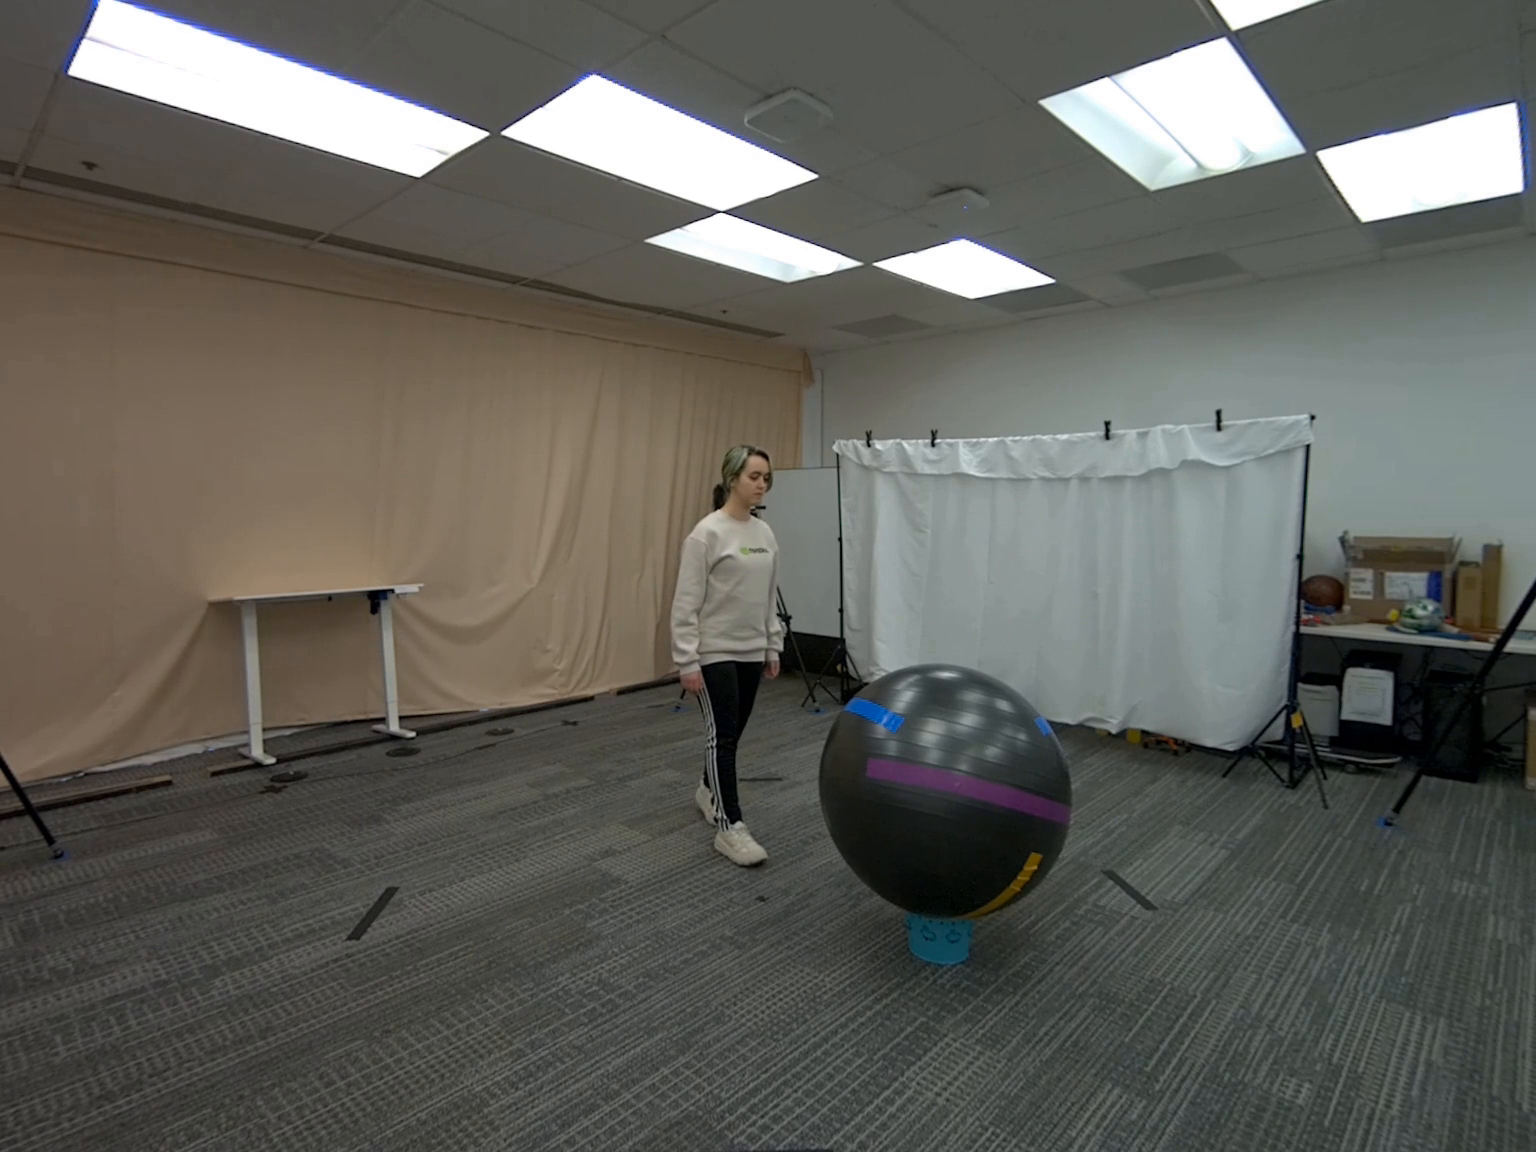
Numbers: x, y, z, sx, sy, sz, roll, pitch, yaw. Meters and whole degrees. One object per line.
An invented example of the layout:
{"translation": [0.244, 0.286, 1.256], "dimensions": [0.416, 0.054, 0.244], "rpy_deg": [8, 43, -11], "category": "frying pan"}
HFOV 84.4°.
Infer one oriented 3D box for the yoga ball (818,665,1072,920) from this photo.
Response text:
{"translation": [0.540, 0.659, 2.627], "dimensions": [0.757, 0.756, 0.760], "rpy_deg": [0, 4, -2], "category": "yoga ball"}
